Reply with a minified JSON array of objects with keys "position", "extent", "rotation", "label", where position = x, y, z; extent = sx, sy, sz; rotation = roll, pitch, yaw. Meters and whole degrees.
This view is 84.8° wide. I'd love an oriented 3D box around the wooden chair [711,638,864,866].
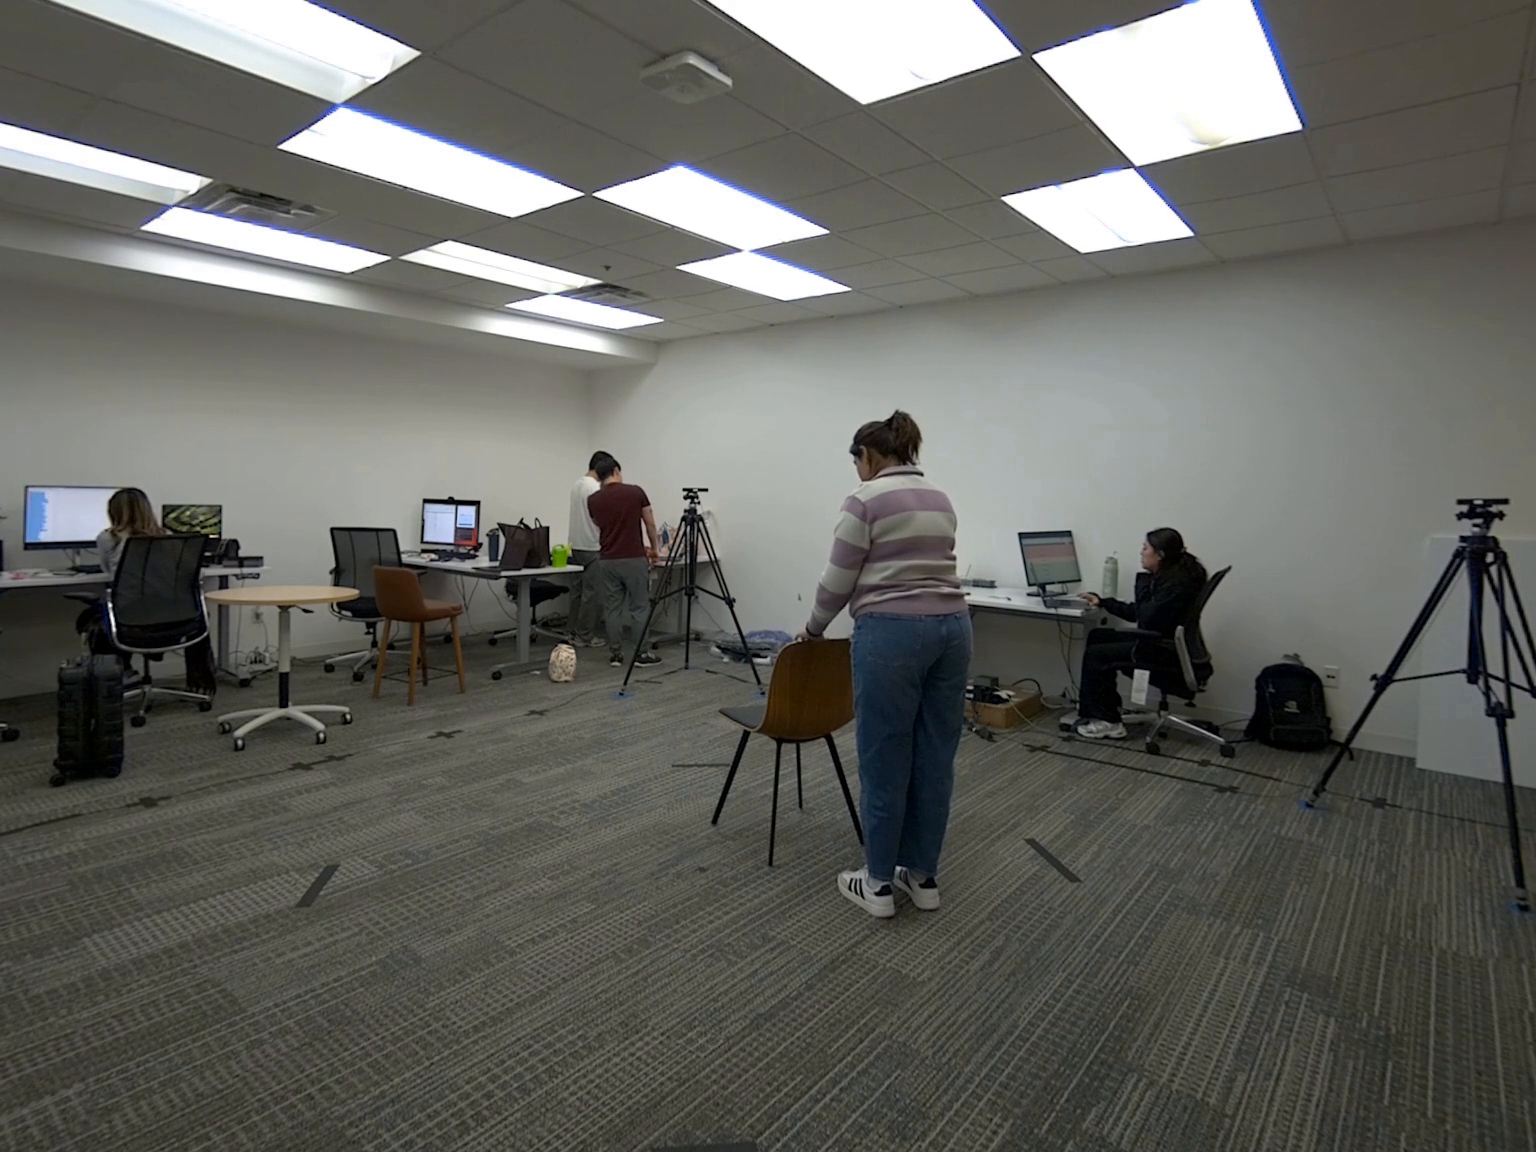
[{"position":[0.071,0.617,3.426],"extent":[0.465,0.872,0.541],"rotation":[0,8,-31],"label":"wooden chair"}]
